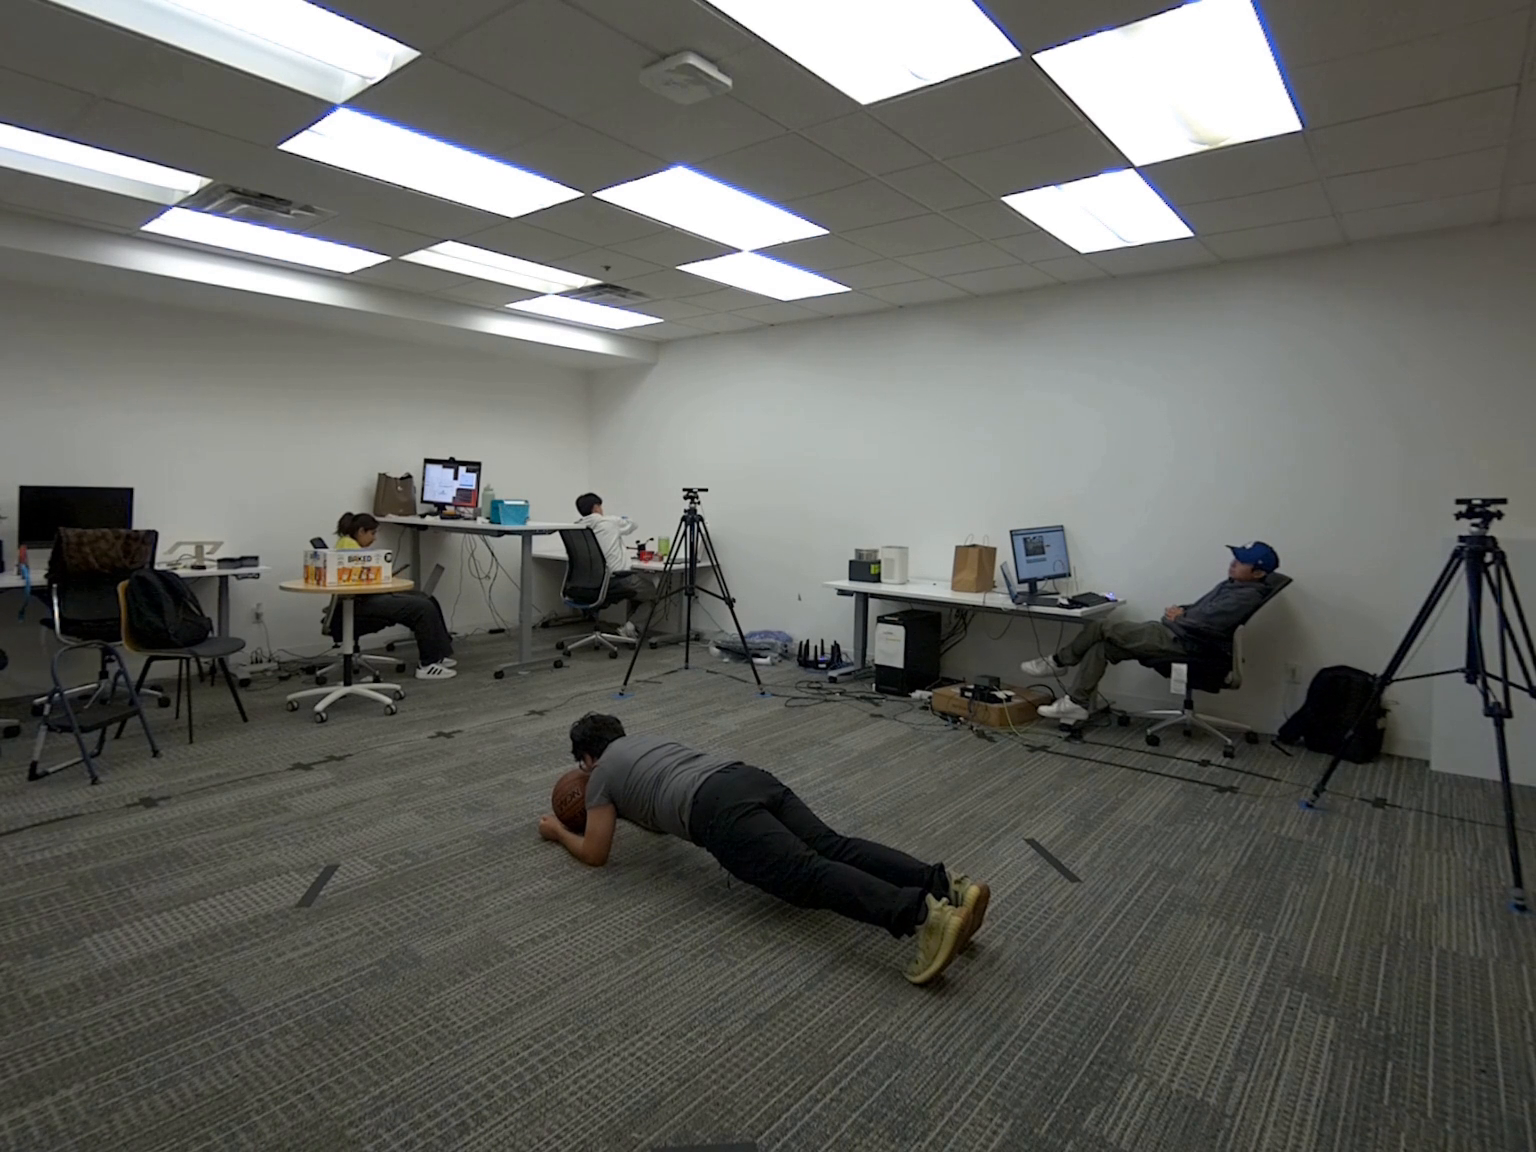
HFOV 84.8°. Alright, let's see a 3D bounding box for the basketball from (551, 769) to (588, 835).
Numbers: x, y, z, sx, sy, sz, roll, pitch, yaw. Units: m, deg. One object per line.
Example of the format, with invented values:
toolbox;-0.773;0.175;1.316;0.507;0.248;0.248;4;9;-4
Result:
basketball;-0.776;0.905;3.468;0.235;0.235;0.237;1;4;-2
